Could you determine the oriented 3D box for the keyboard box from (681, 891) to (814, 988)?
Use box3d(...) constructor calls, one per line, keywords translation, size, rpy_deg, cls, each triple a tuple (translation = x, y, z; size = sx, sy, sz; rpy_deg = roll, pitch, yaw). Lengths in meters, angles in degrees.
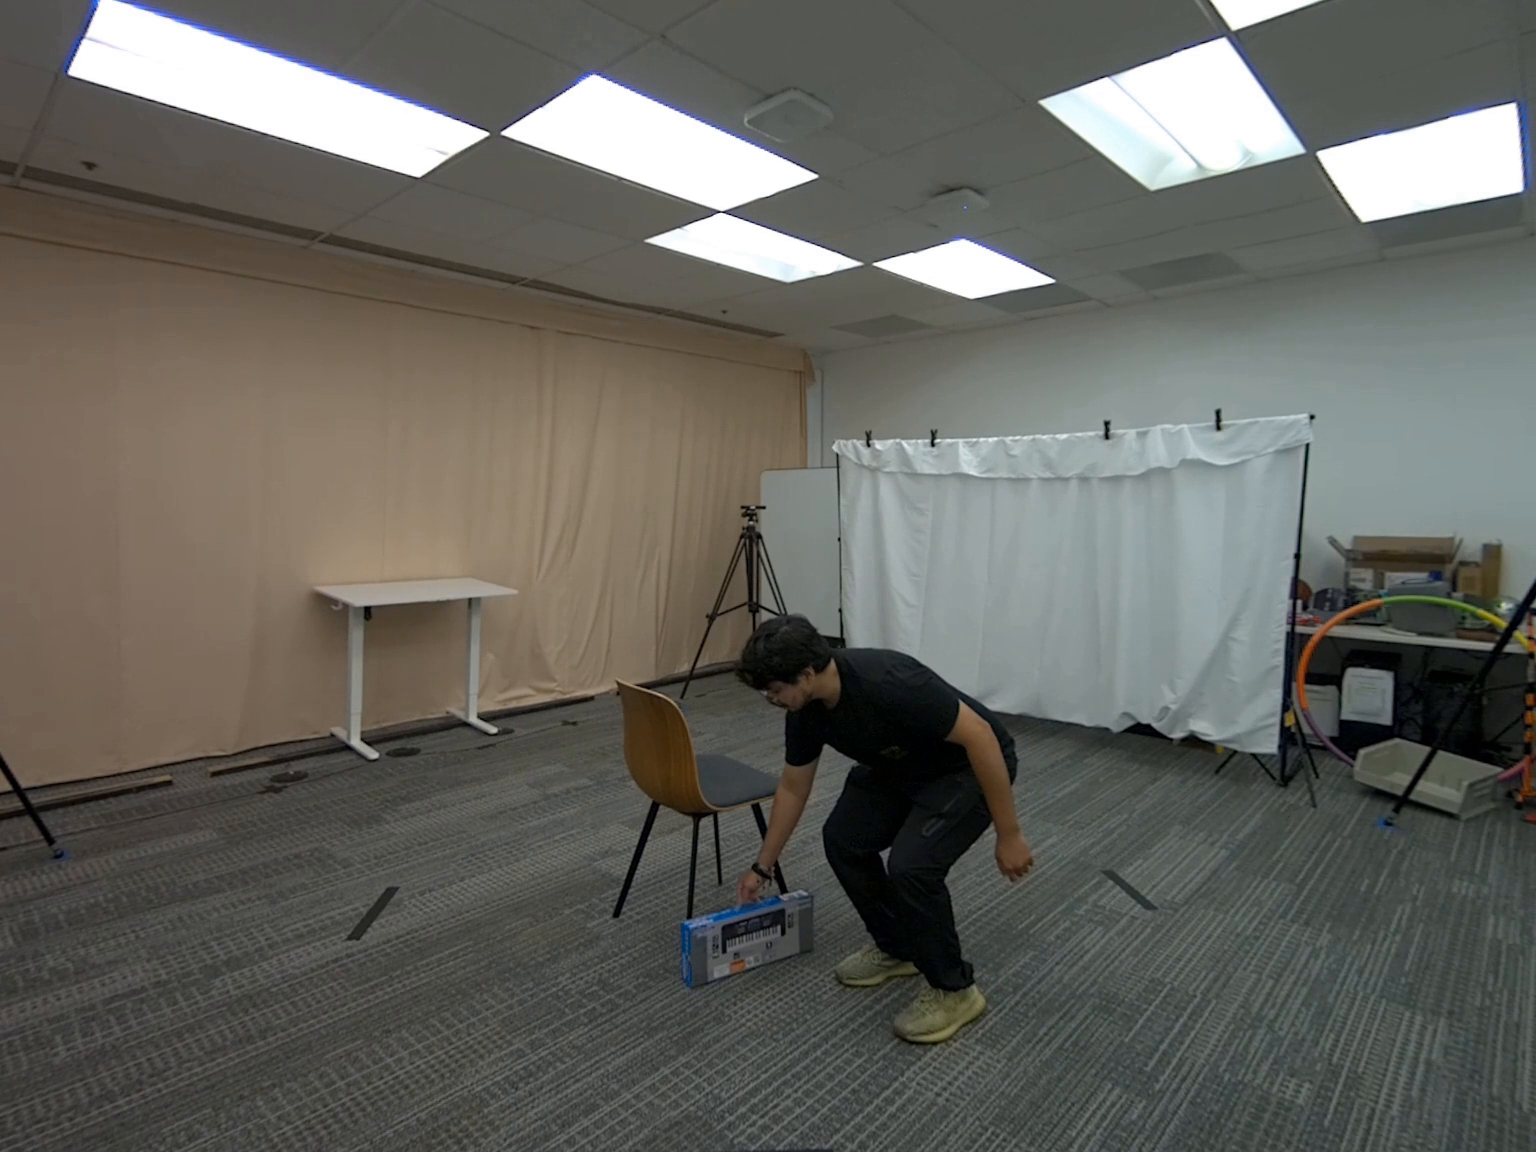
box3d(translation=(-0.050, 1.096, 2.547), size=(0.425, 0.176, 0.061), rpy_deg=(-2, 2, -29), cls="keyboard box")
